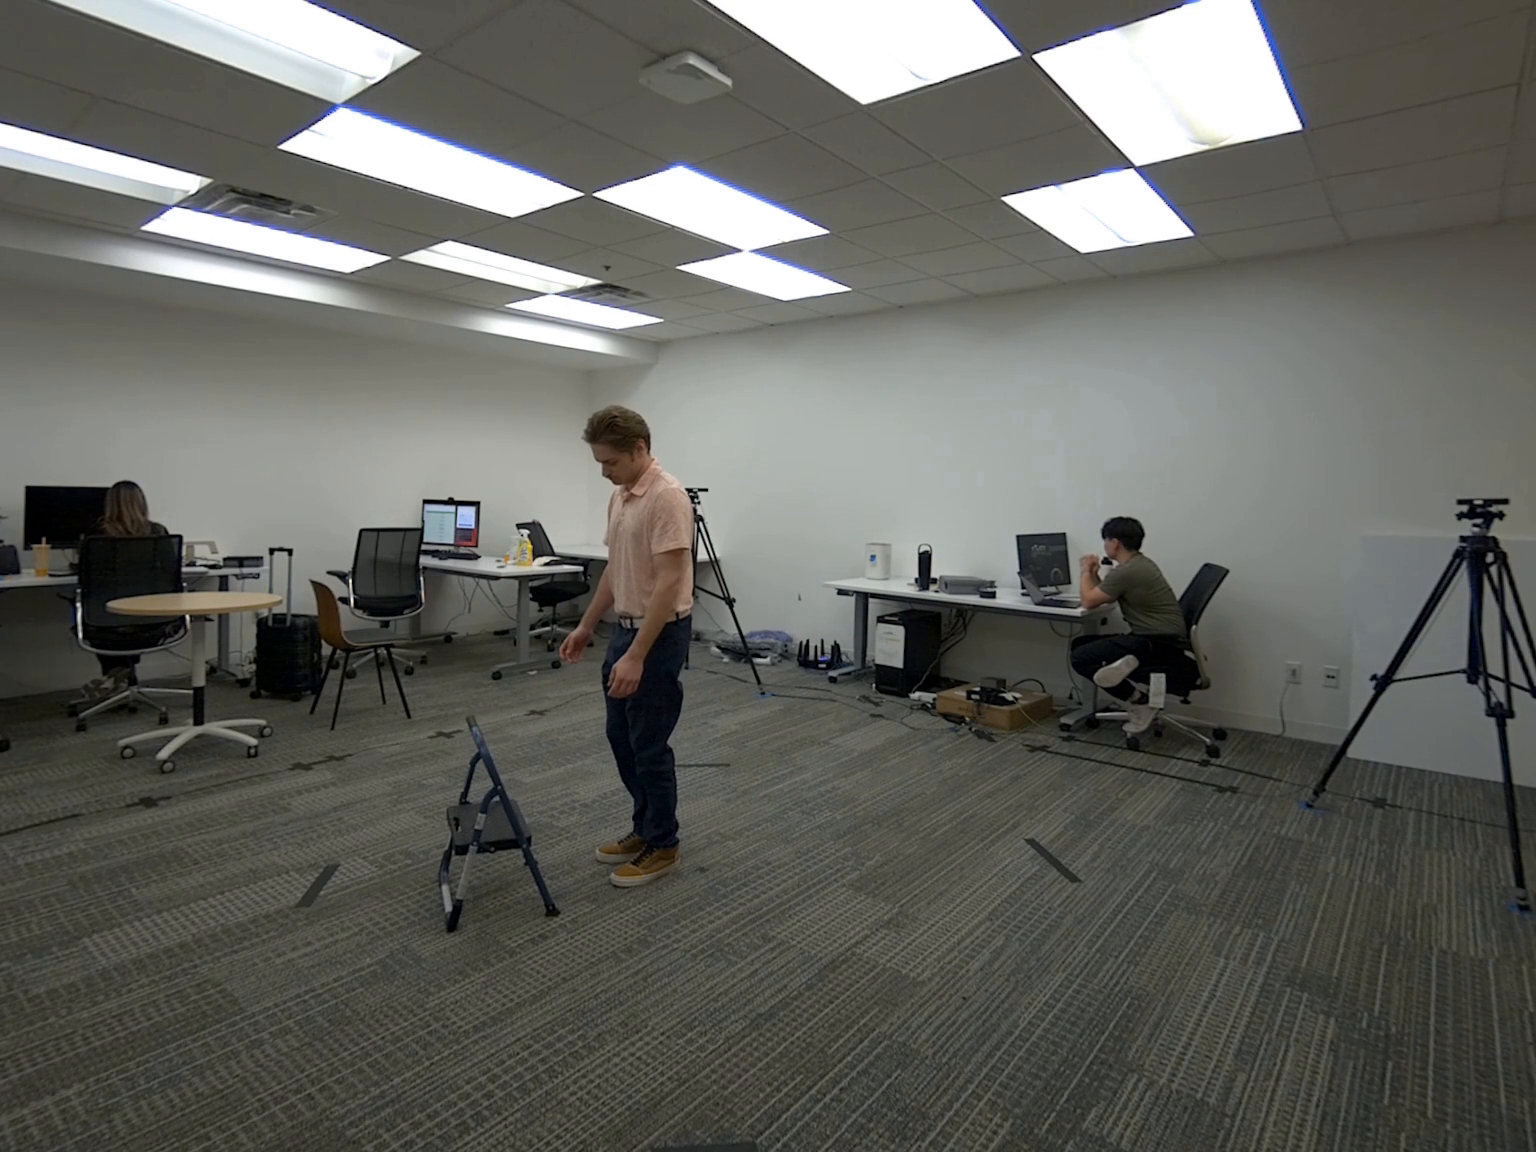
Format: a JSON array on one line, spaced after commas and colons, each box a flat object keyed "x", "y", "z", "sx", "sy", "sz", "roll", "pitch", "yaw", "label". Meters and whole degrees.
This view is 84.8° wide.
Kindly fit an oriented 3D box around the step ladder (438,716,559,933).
[{"x": -0.930, "y": 0.778, "z": 2.873, "sx": 0.341, "sy": 0.604, "sz": 0.442, "roll": 0, "pitch": 4, "yaw": -25, "label": "step ladder"}]
